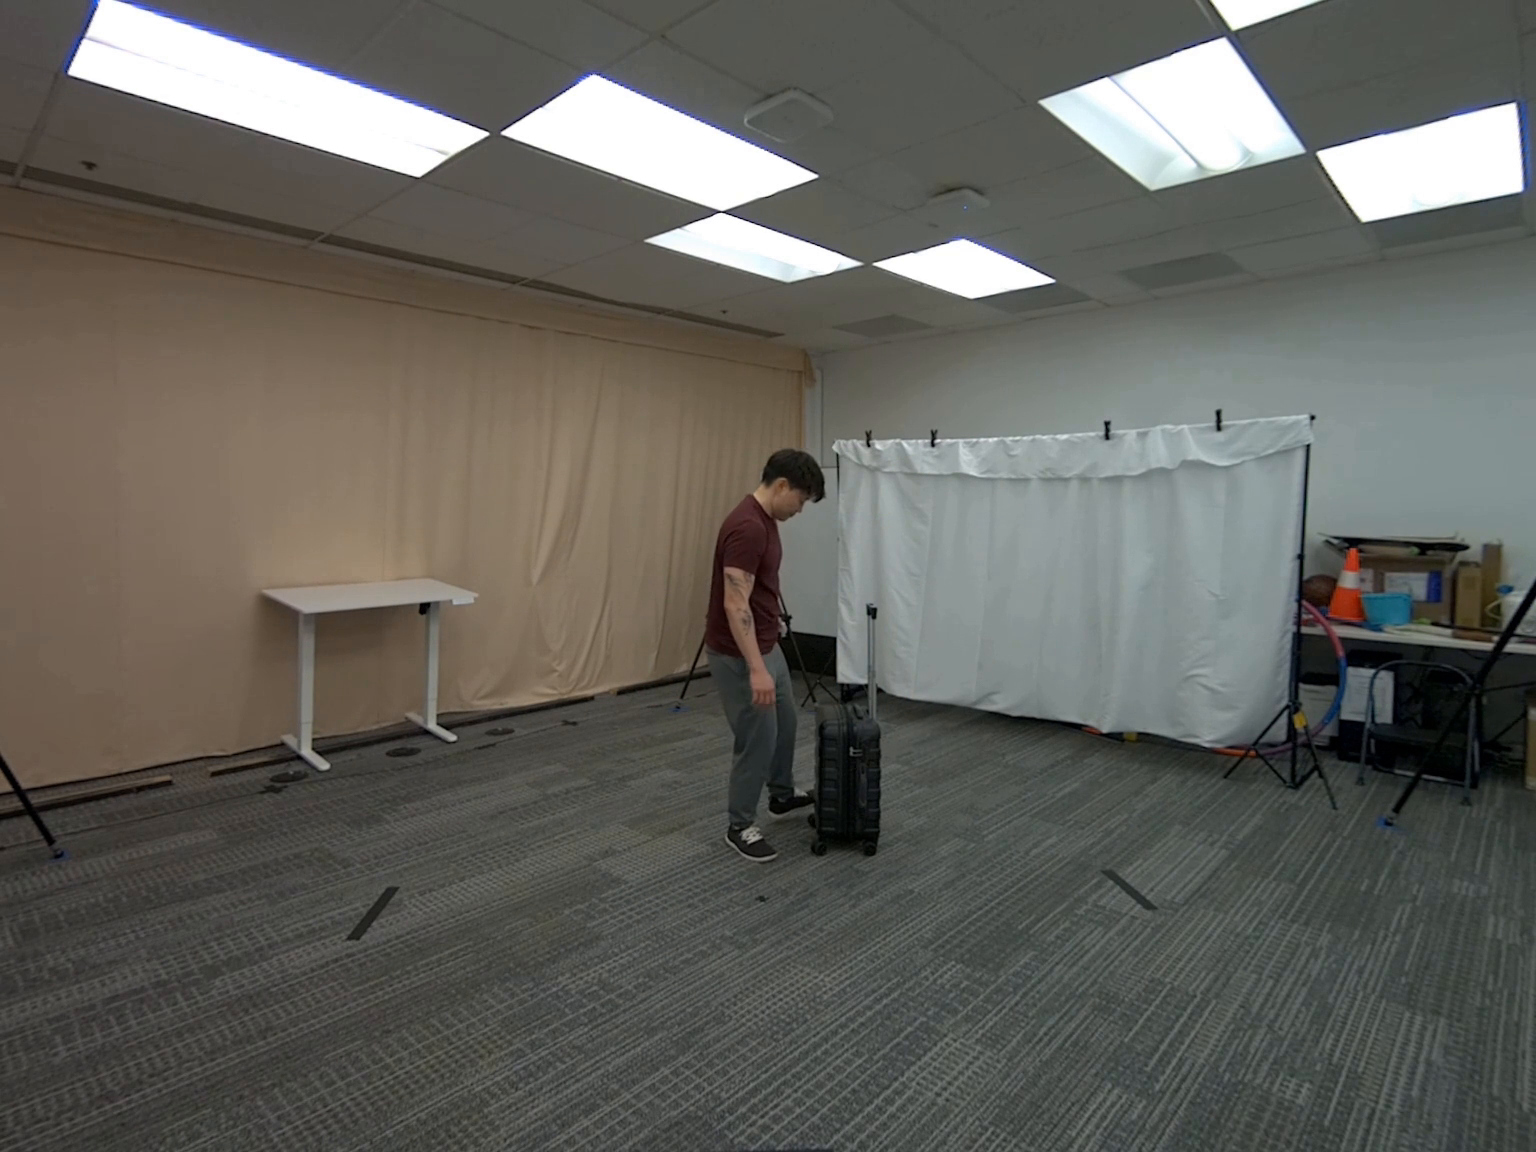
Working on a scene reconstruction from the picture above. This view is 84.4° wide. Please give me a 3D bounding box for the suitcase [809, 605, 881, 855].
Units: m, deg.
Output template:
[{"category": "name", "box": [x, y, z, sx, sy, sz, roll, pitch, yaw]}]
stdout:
[{"category": "suitcase", "box": [0.327, 0.622, 3.482, 0.258, 0.977, 0.383, 1, 2, 2]}]
